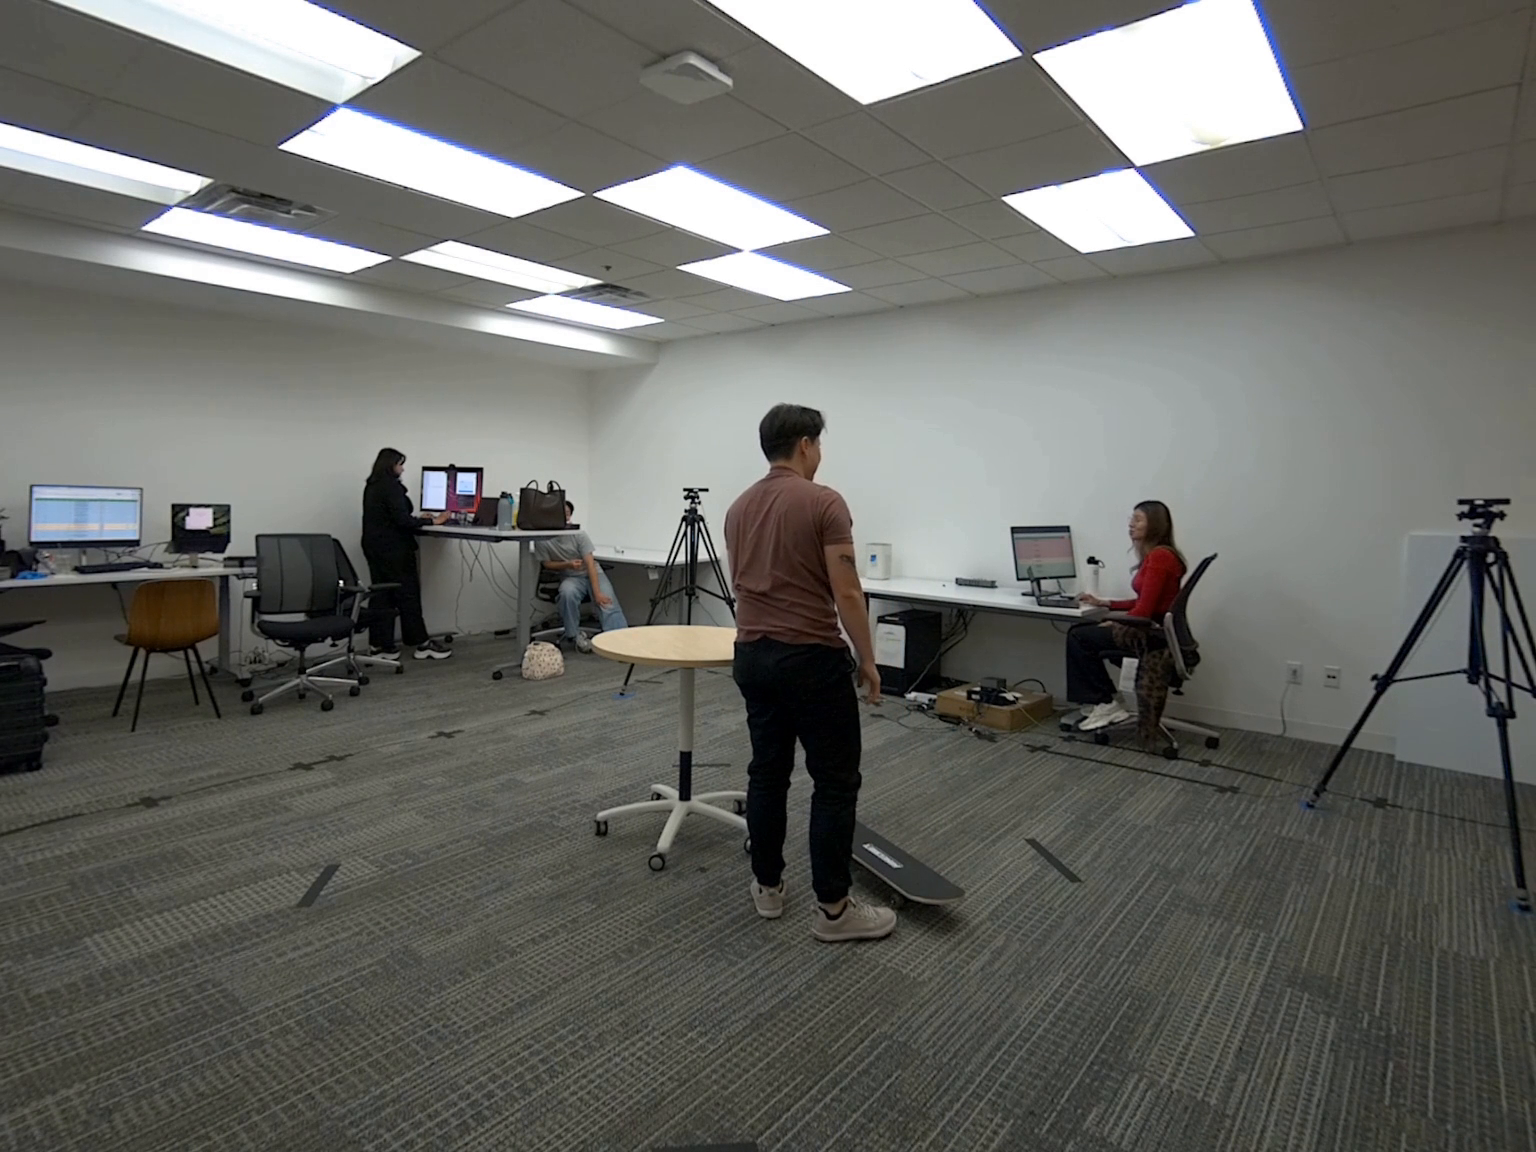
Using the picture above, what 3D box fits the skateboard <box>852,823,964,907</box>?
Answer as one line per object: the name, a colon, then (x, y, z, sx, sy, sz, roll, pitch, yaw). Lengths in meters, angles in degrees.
skateboard: (0.401, 1.030, 3.056, 0.189, 0.110, 0.807, -2, 6, -26)
